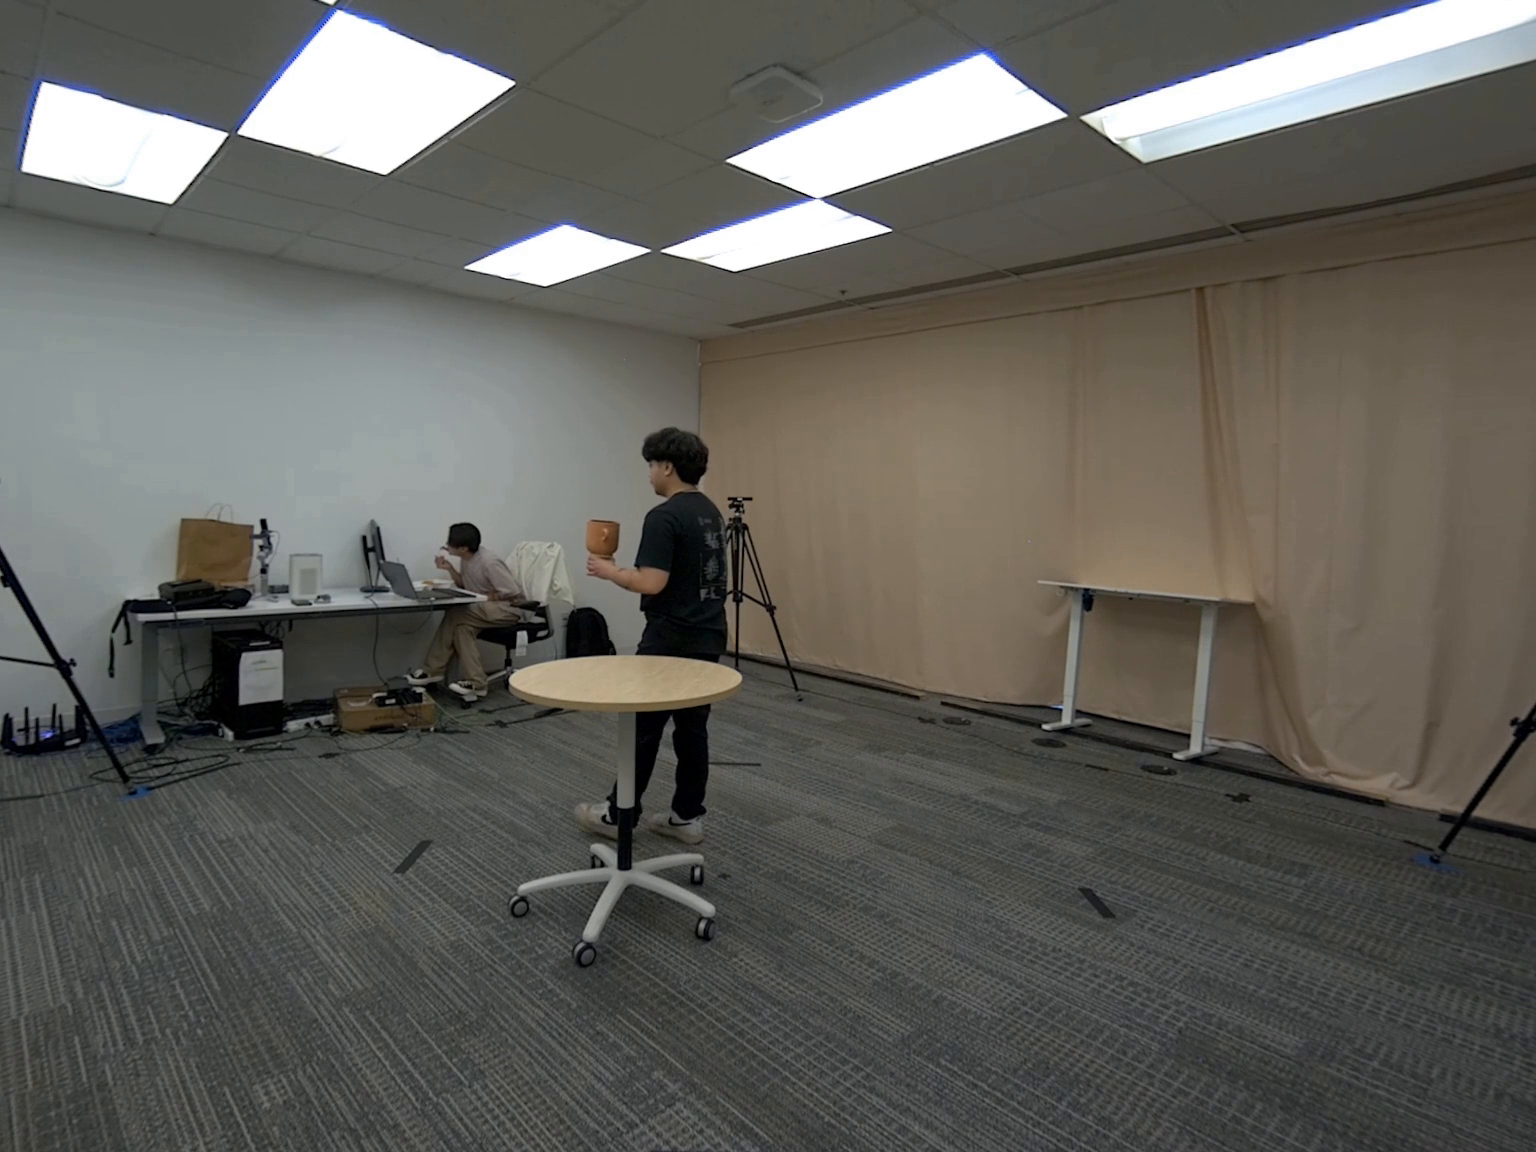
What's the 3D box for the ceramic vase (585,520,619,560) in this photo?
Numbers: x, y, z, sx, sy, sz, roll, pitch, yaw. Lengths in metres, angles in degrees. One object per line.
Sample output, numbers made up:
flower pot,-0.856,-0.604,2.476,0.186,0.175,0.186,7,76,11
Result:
ceramic vase,-0.681,-0.113,3.442,0.137,0.219,0.156,6,4,21
